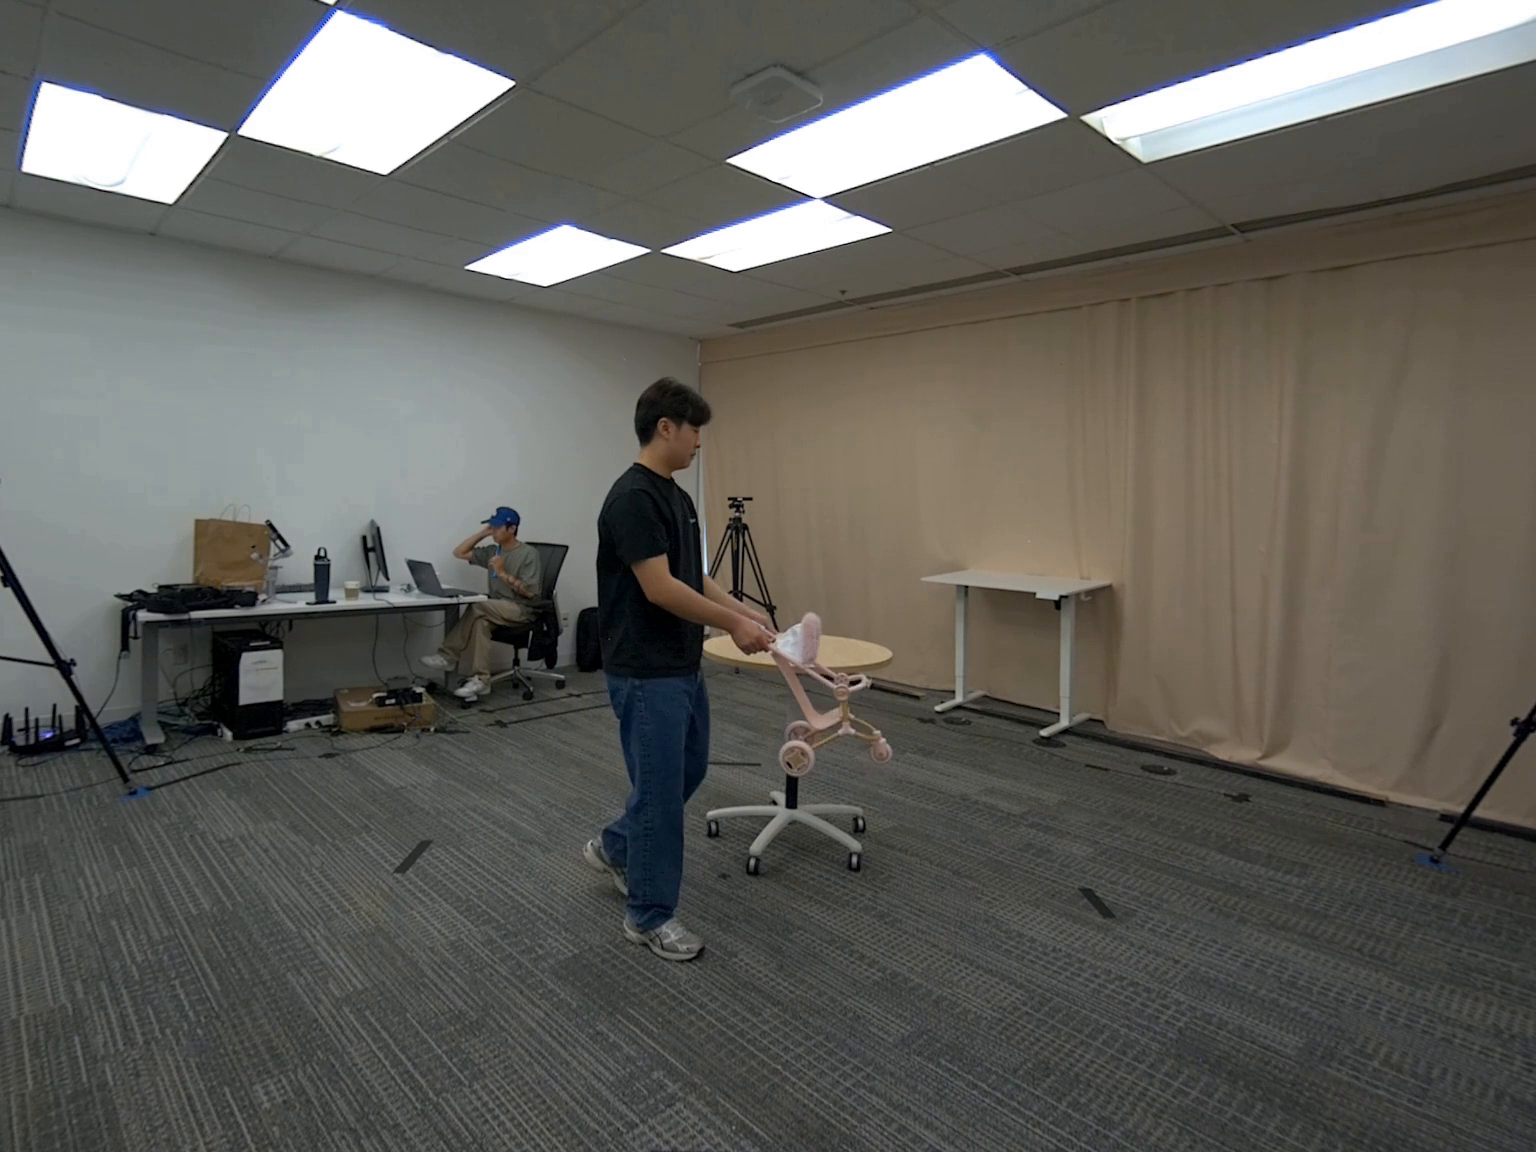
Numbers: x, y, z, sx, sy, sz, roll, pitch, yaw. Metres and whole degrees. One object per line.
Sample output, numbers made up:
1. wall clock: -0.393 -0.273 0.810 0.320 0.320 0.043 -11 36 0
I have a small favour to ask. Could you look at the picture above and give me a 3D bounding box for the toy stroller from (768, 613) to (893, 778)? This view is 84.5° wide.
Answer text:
1. toy stroller: 0.149 0.359 2.597 0.344 0.535 0.279 -16 -1 12
